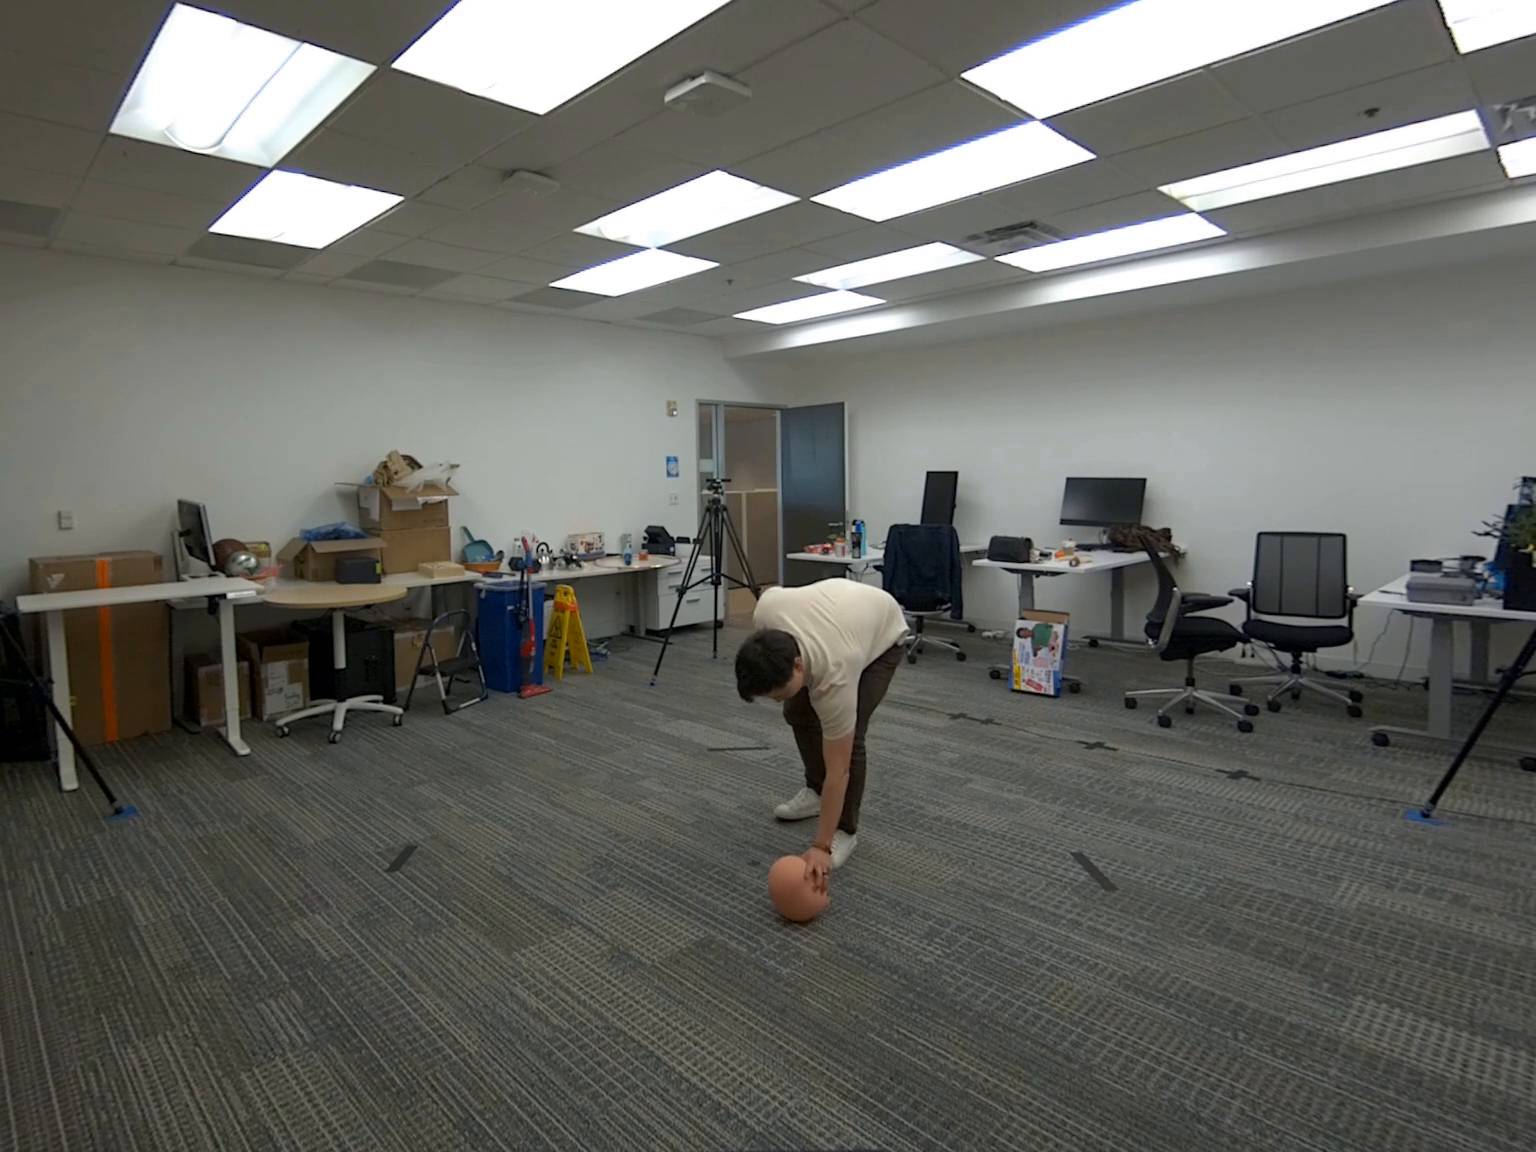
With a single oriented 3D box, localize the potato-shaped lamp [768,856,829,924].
[{"bbox_3d":[0.099,0.969,2.708,0.169,0.194,0.170,-24,22,-21],"label":"potato-shaped lamp"}]
